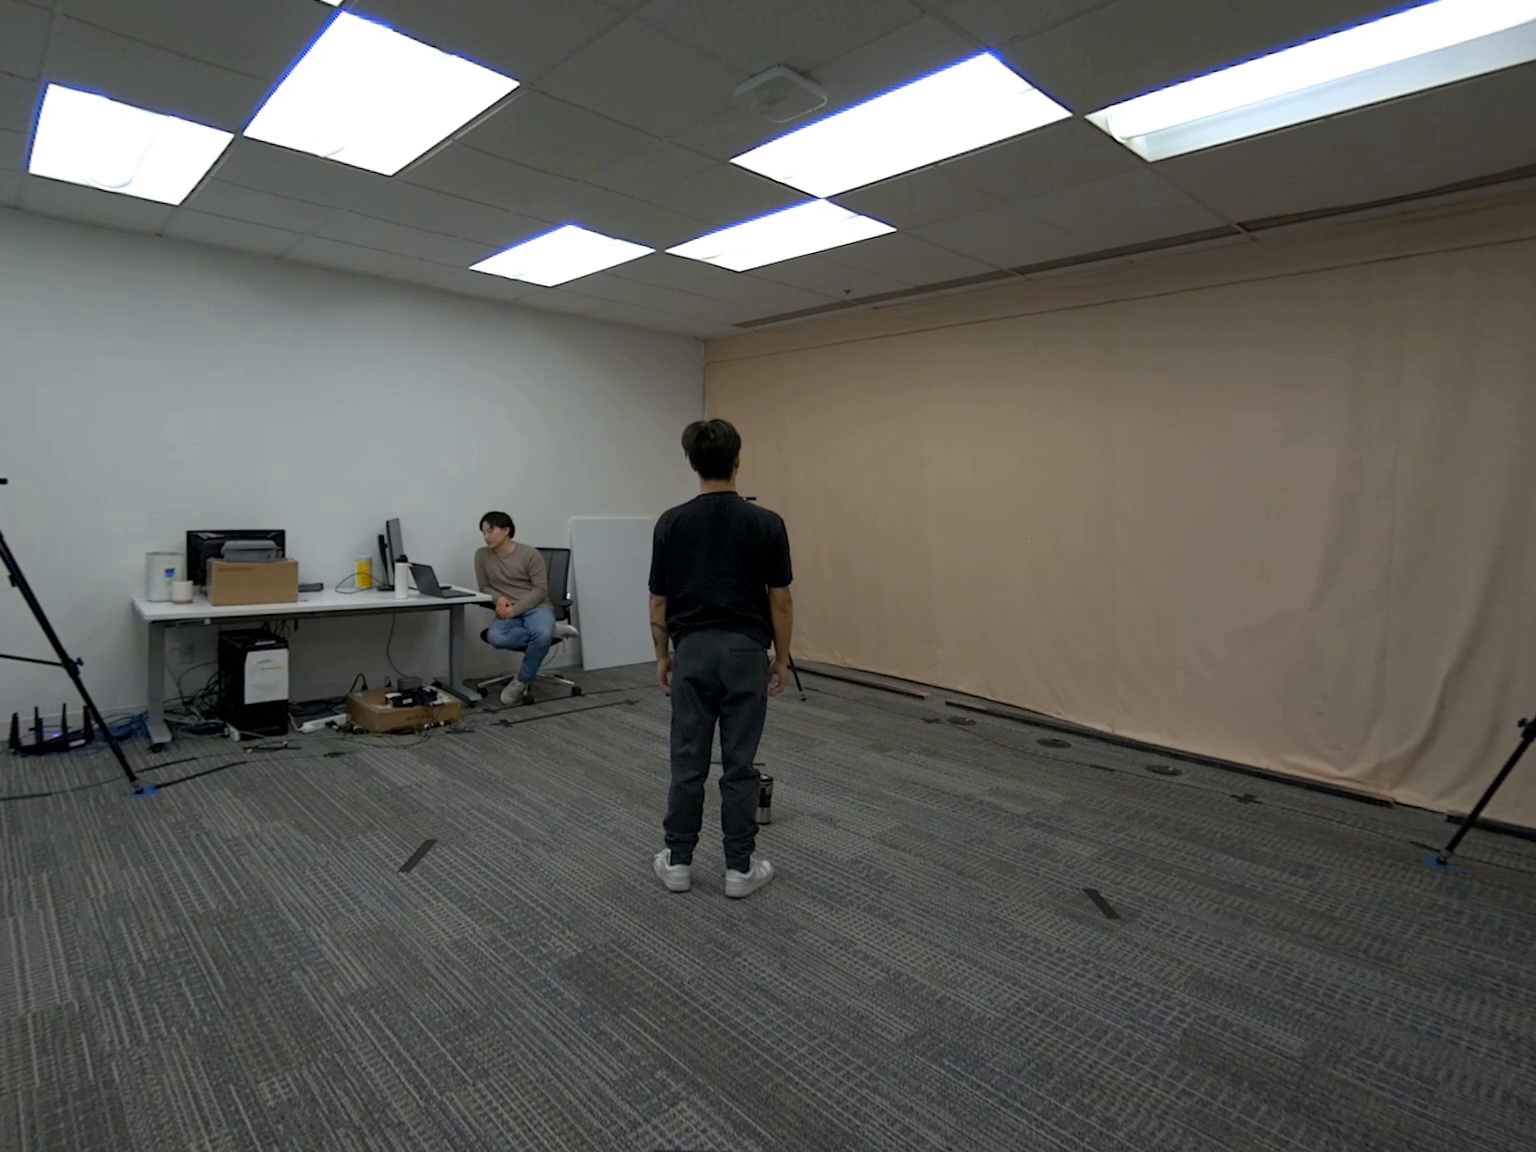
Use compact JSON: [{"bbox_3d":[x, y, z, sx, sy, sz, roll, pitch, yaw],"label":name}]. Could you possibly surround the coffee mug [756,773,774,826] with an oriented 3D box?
[{"bbox_3d":[-0.043,0.967,3.620,0.090,0.202,0.119,7,3,40],"label":"coffee mug"}]
